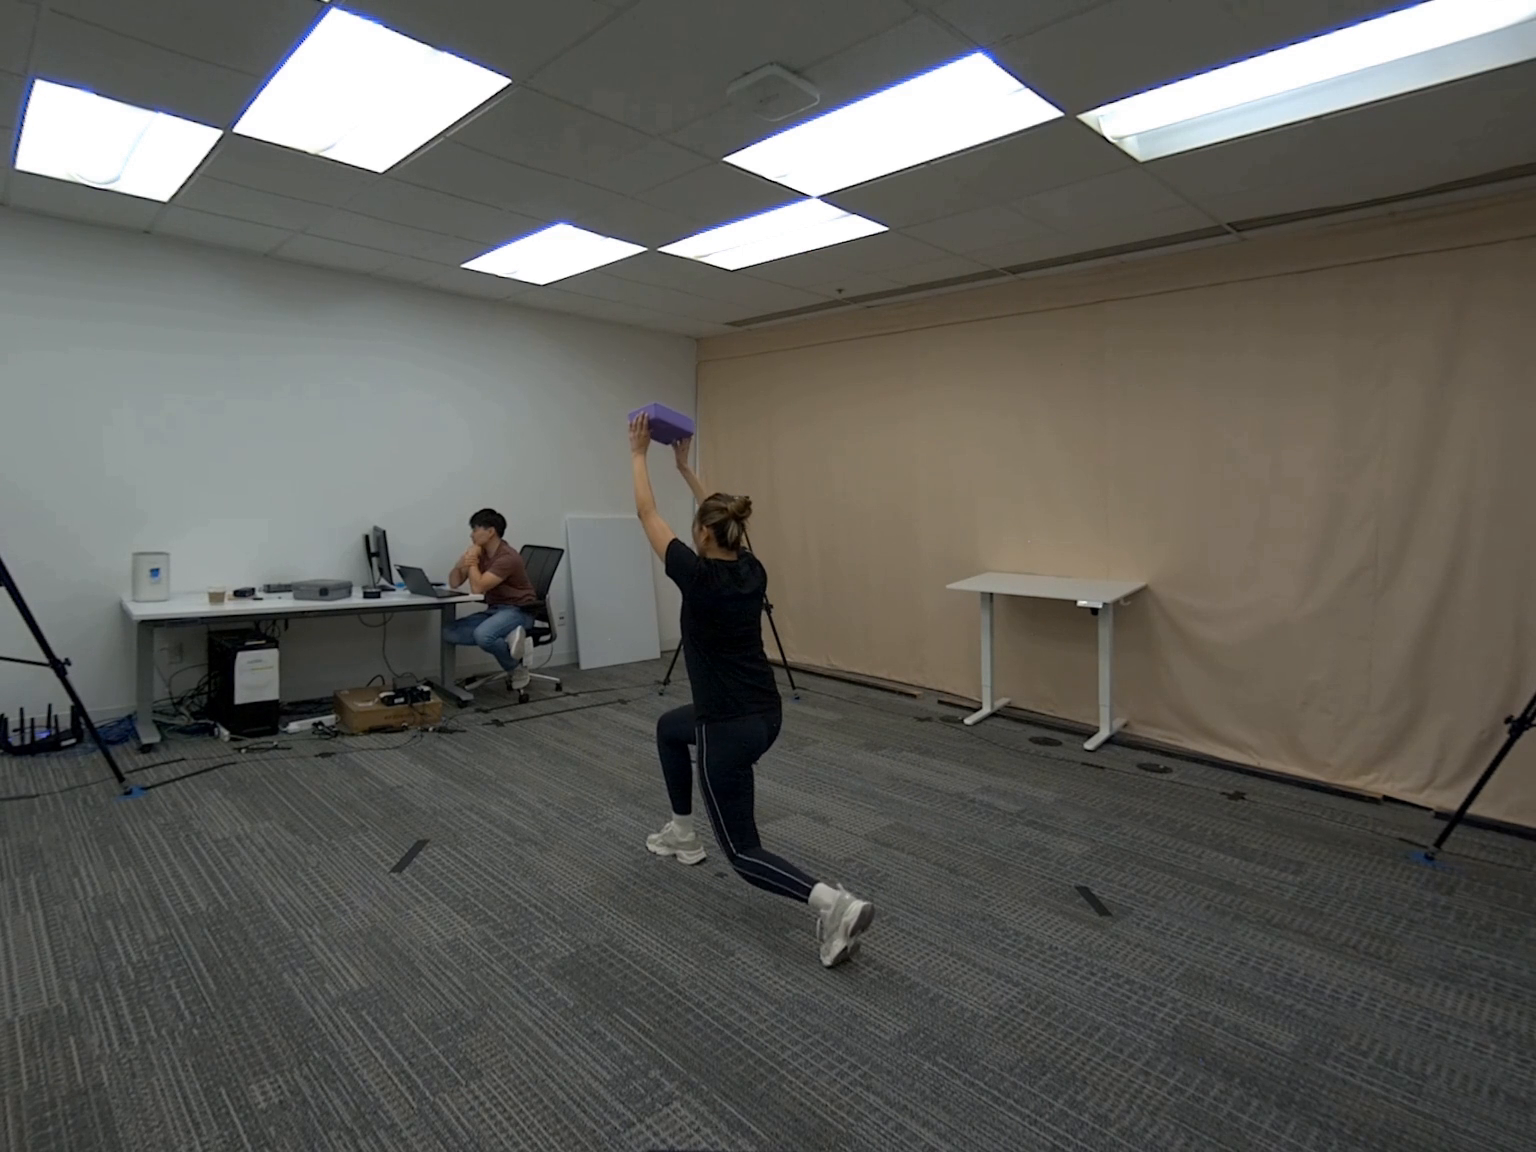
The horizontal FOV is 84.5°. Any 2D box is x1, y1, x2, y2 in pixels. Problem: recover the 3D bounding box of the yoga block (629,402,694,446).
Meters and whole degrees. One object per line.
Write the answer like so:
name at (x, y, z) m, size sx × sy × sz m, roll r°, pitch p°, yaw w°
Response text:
yoga block at (-0.419, -0.603, 3.246) m, size 0.151 × 0.077 × 0.223 m, roll -14°, pitch -16°, yaw 32°
